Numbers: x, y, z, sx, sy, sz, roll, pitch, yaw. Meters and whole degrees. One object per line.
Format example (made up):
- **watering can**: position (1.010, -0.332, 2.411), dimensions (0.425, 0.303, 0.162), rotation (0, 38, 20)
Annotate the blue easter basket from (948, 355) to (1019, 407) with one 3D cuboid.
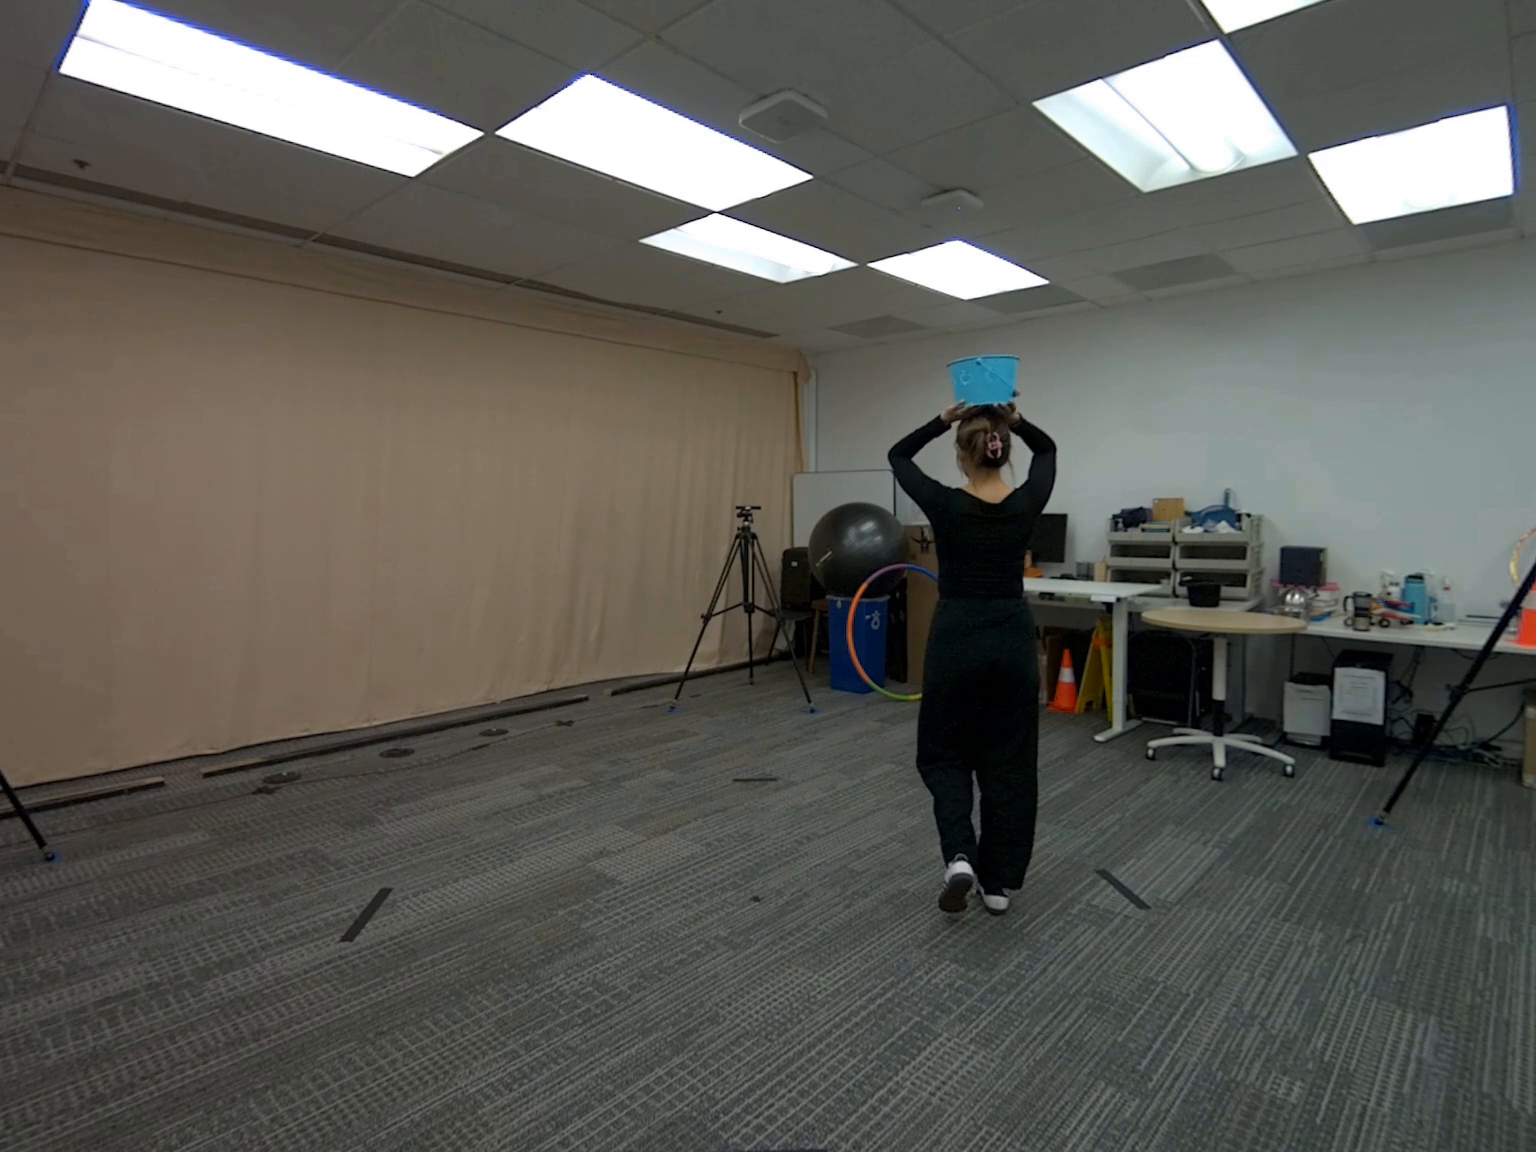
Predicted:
- **blue easter basket**: position (0.740, -0.640, 2.816), dimensions (0.243, 0.155, 0.244), rotation (-1, 3, -2)
